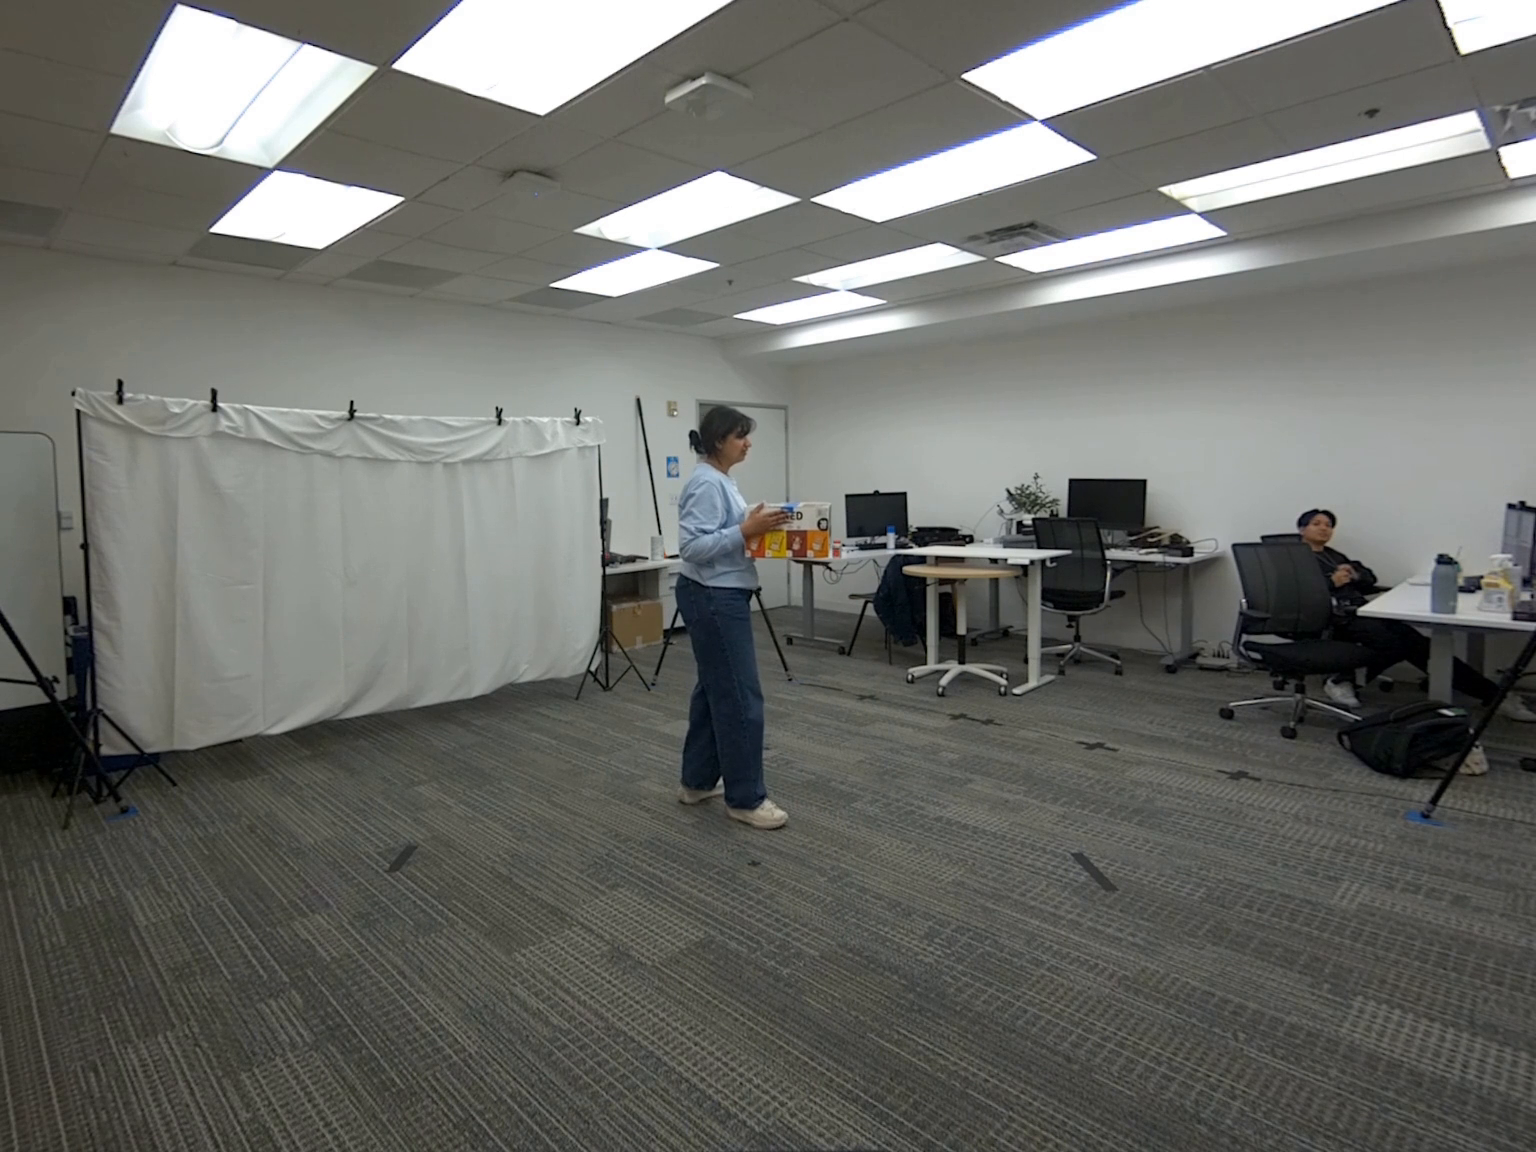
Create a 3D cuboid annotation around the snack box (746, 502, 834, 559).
[{"bbox_3d":[0.093,-0.198,3.600,0.343,0.205,0.404,0,6,8],"label":"snack box"}]
